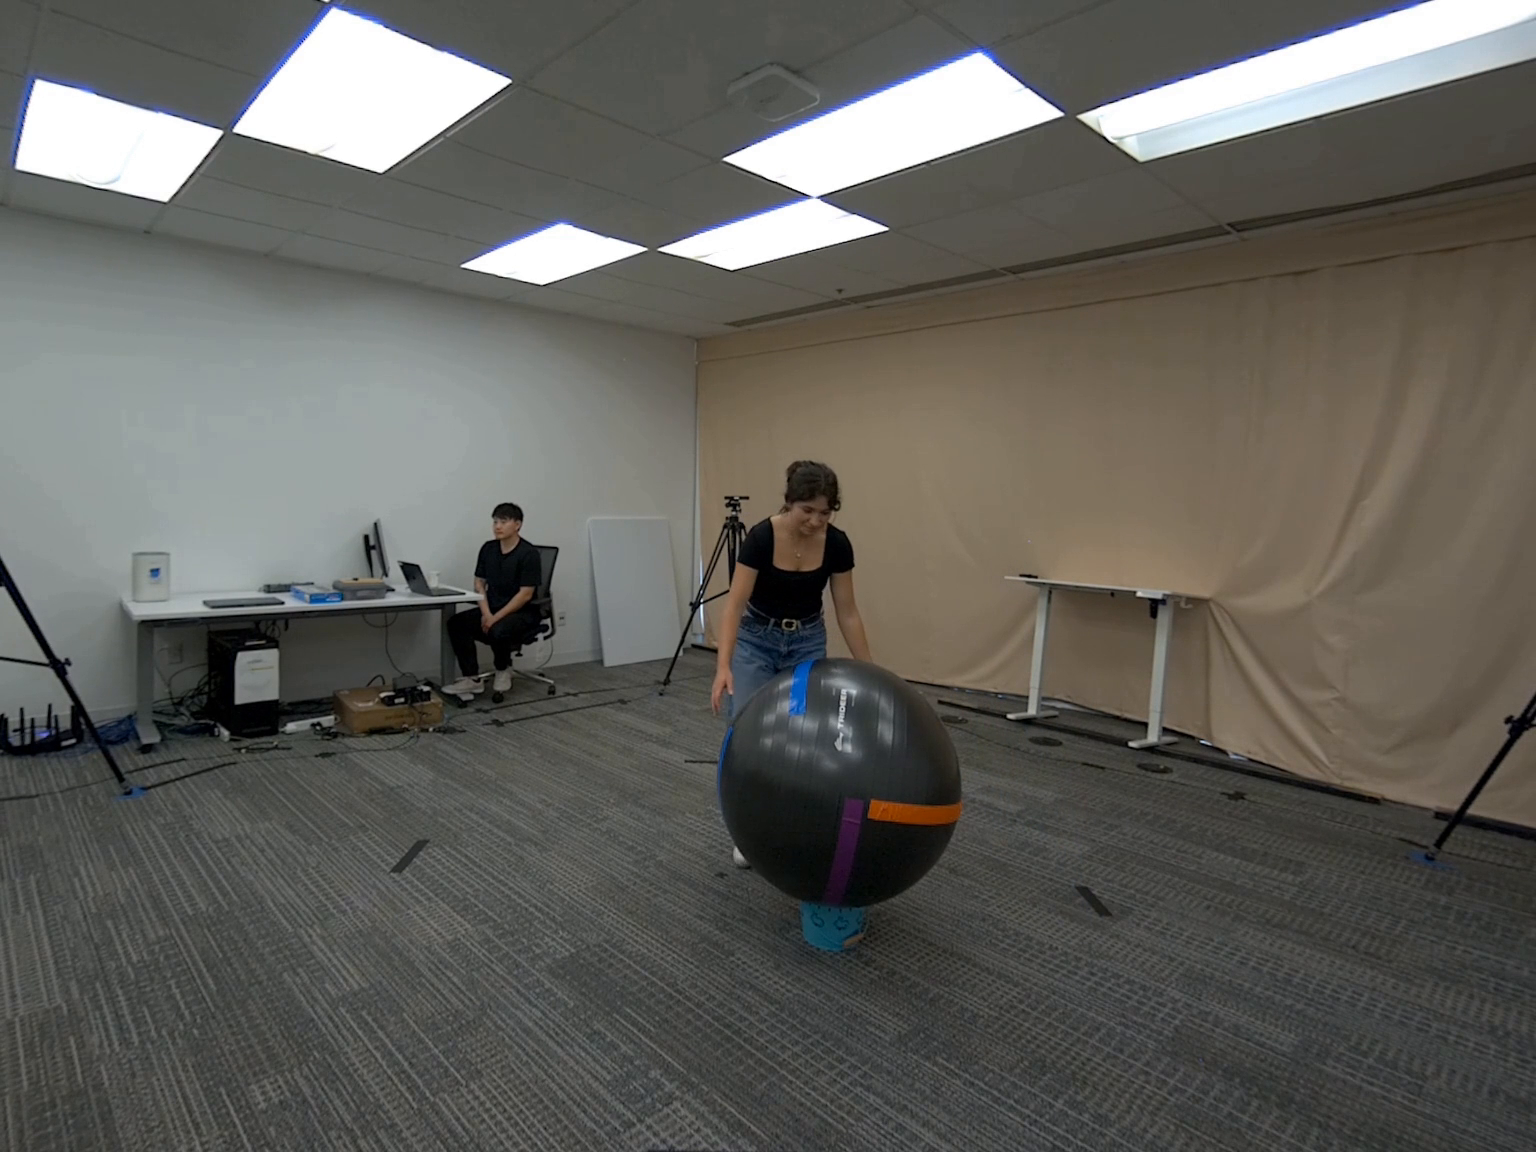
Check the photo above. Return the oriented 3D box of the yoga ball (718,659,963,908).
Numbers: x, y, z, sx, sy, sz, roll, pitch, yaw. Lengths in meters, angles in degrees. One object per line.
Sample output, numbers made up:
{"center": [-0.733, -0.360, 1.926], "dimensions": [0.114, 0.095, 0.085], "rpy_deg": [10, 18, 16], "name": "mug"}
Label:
{"center": [0.218, 0.646, 2.654], "dimensions": [0.757, 0.756, 0.761], "rpy_deg": [1, 4, -1], "name": "yoga ball"}
